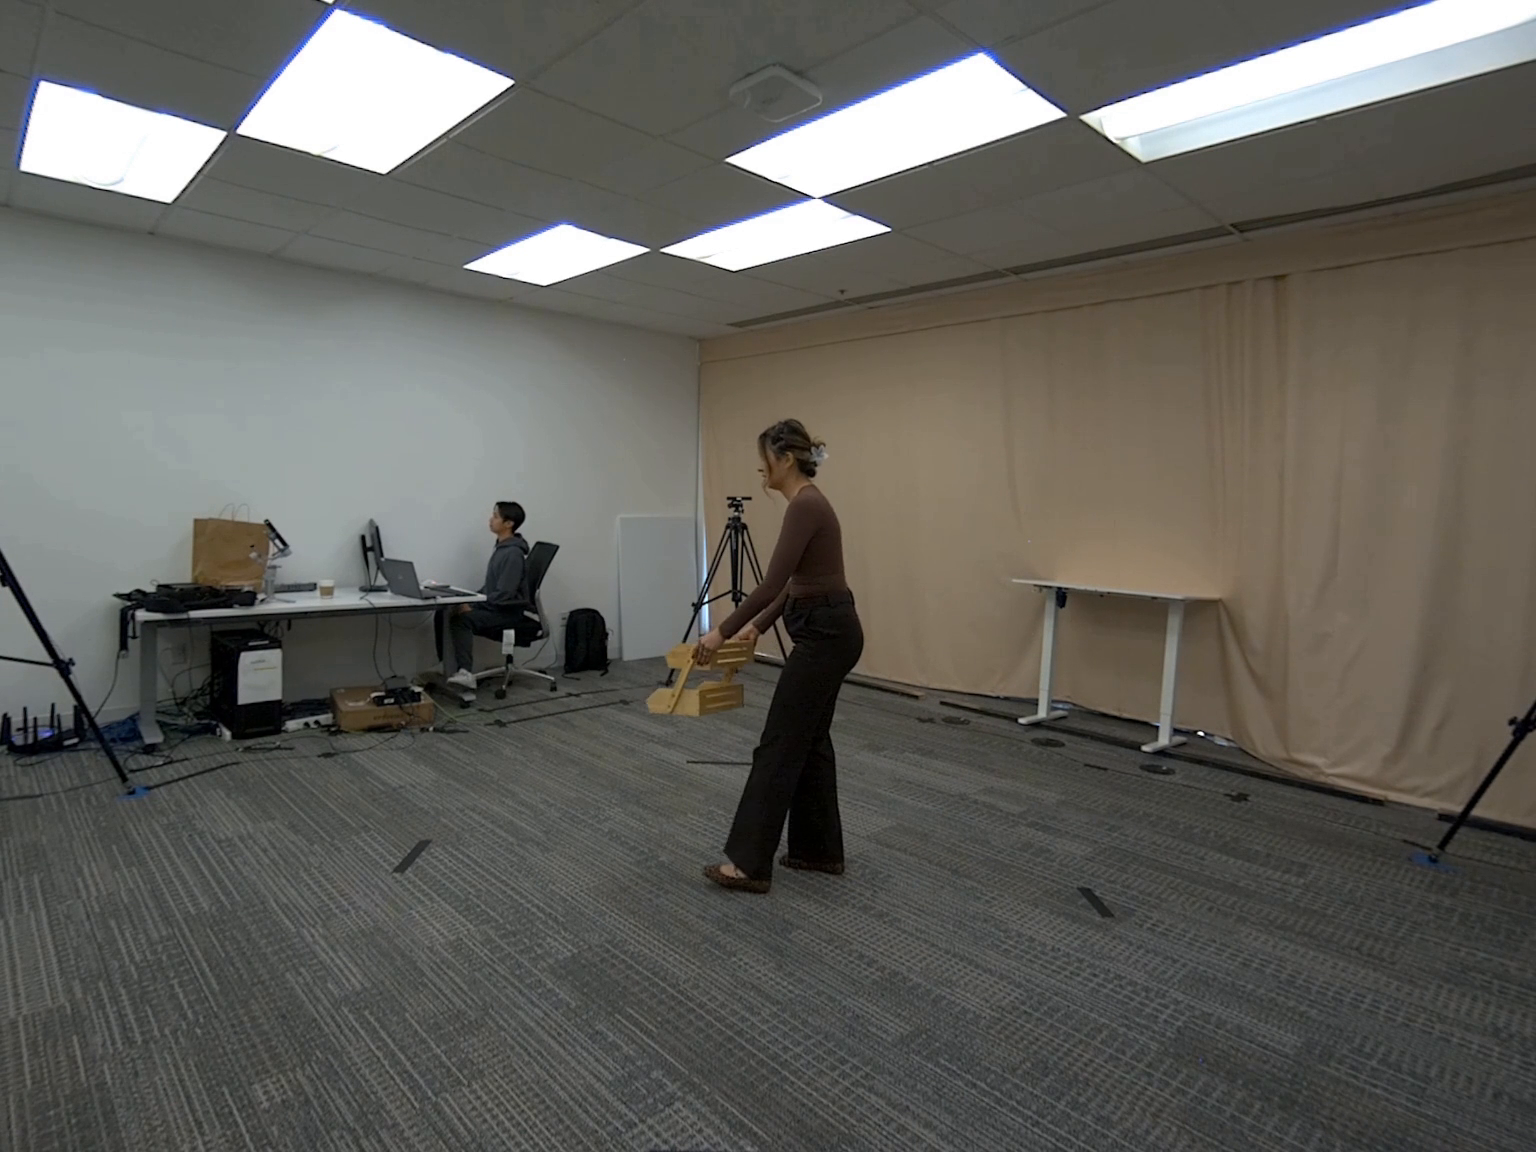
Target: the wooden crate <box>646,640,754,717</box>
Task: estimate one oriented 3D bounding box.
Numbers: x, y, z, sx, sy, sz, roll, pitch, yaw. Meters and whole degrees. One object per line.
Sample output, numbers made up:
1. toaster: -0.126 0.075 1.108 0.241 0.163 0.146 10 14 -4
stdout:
1. wooden crate: -0.262 0.379 3.241 0.308 0.274 0.317 -1 -2 32
